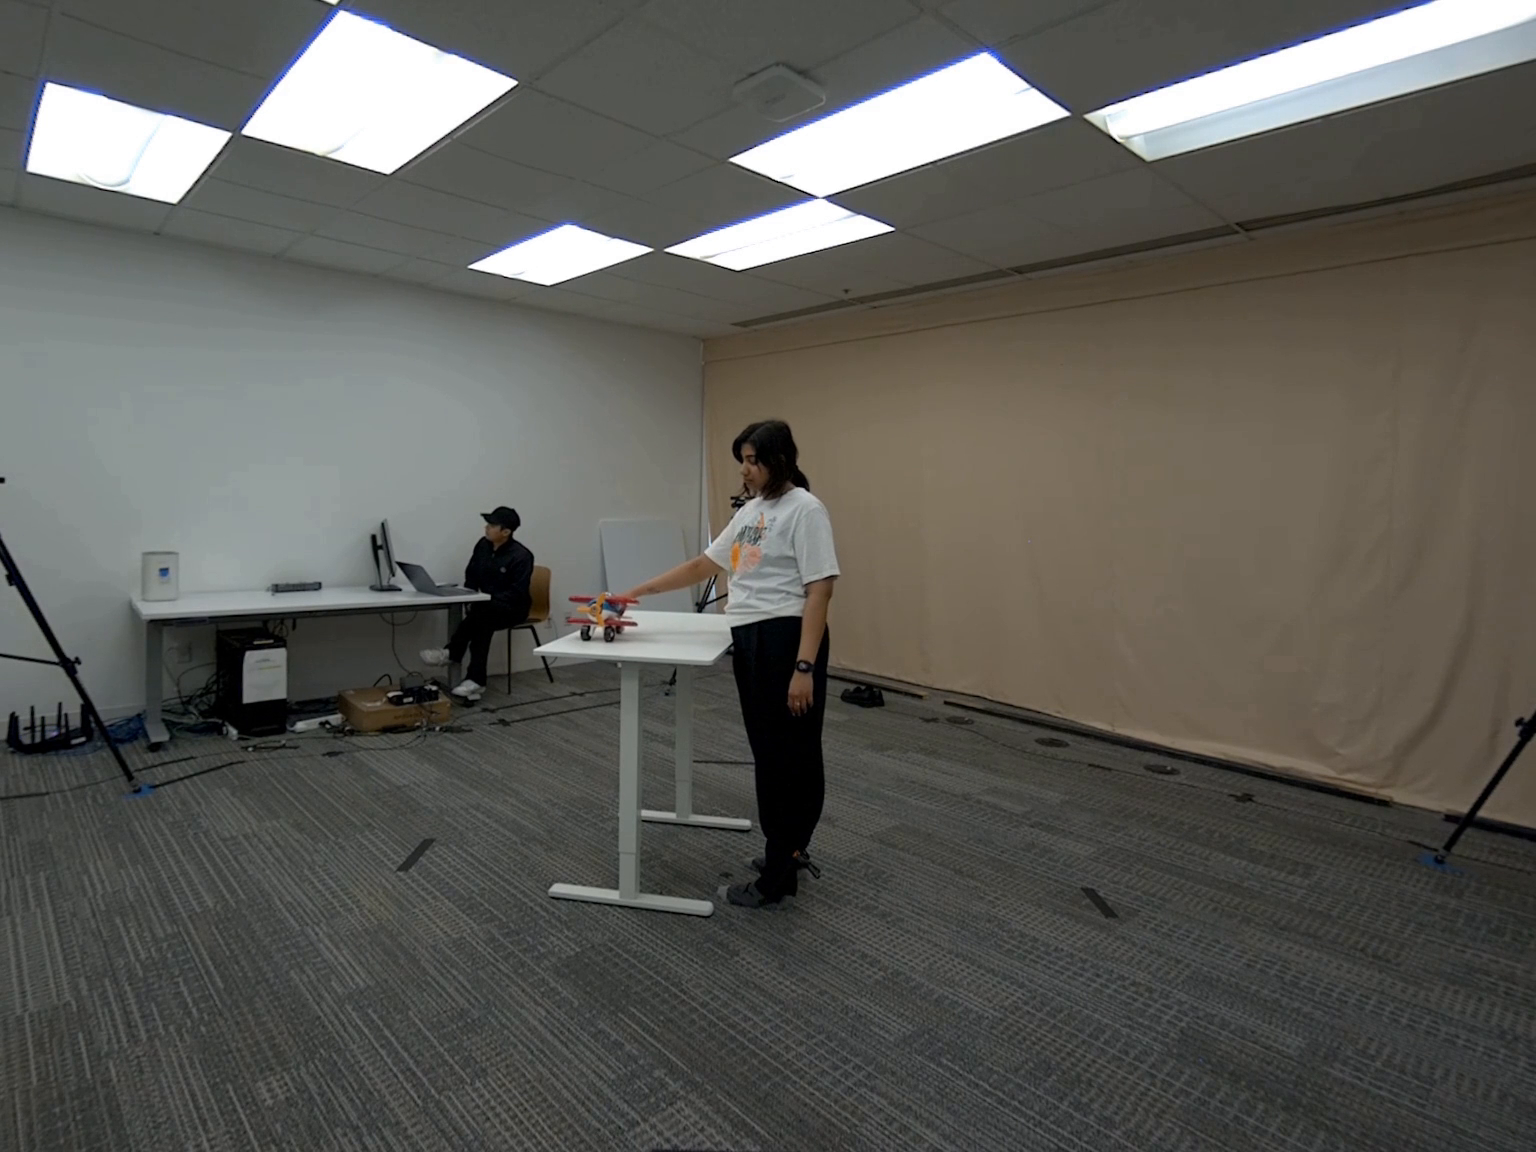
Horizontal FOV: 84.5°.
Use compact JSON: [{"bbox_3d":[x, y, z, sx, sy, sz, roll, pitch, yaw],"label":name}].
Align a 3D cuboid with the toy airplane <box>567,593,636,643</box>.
[{"bbox_3d":[-0.604,0.144,3.023,0.248,0.156,0.263,0,5,-16],"label":"toy airplane"}]
